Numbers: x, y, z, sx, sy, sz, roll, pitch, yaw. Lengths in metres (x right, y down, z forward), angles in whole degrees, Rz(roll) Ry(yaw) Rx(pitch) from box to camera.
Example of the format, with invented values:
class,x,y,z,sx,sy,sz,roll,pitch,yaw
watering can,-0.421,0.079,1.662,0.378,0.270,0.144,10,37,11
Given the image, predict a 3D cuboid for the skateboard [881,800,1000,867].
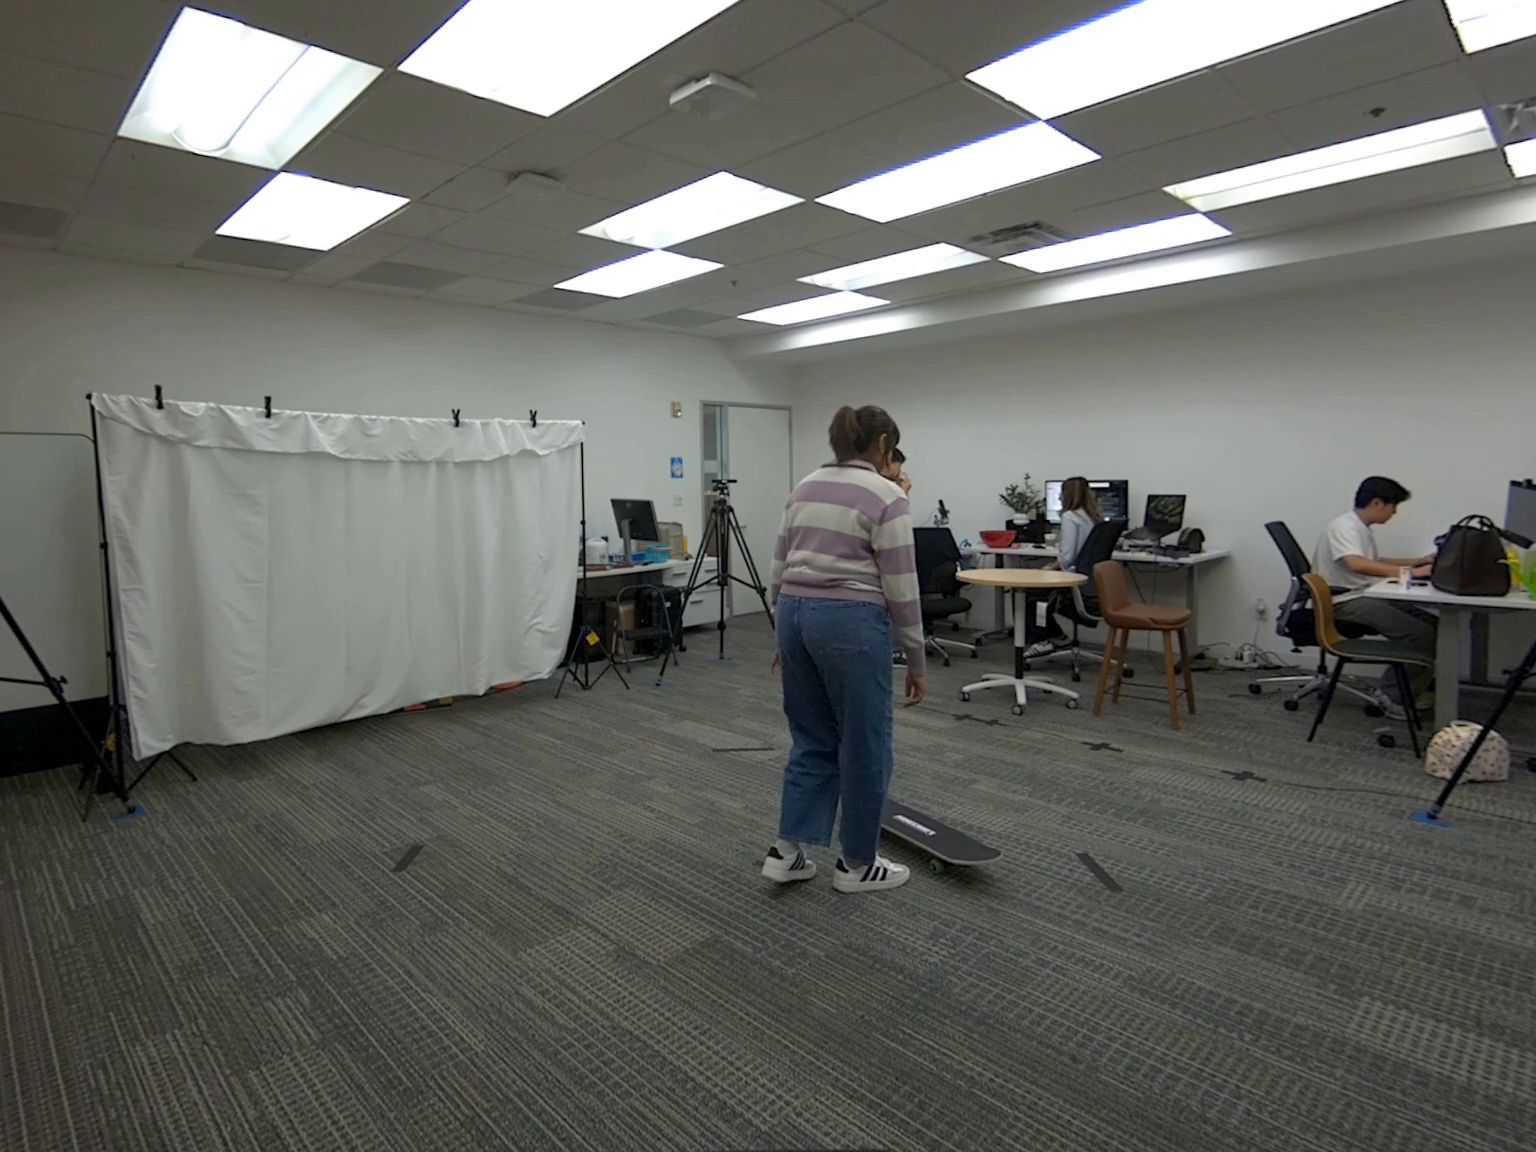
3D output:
class,x,y,z,sx,sy,sz,roll,pitch,yaw
skateboard,0.553,0.970,3.215,0.189,0.110,0.807,-5,7,-30
